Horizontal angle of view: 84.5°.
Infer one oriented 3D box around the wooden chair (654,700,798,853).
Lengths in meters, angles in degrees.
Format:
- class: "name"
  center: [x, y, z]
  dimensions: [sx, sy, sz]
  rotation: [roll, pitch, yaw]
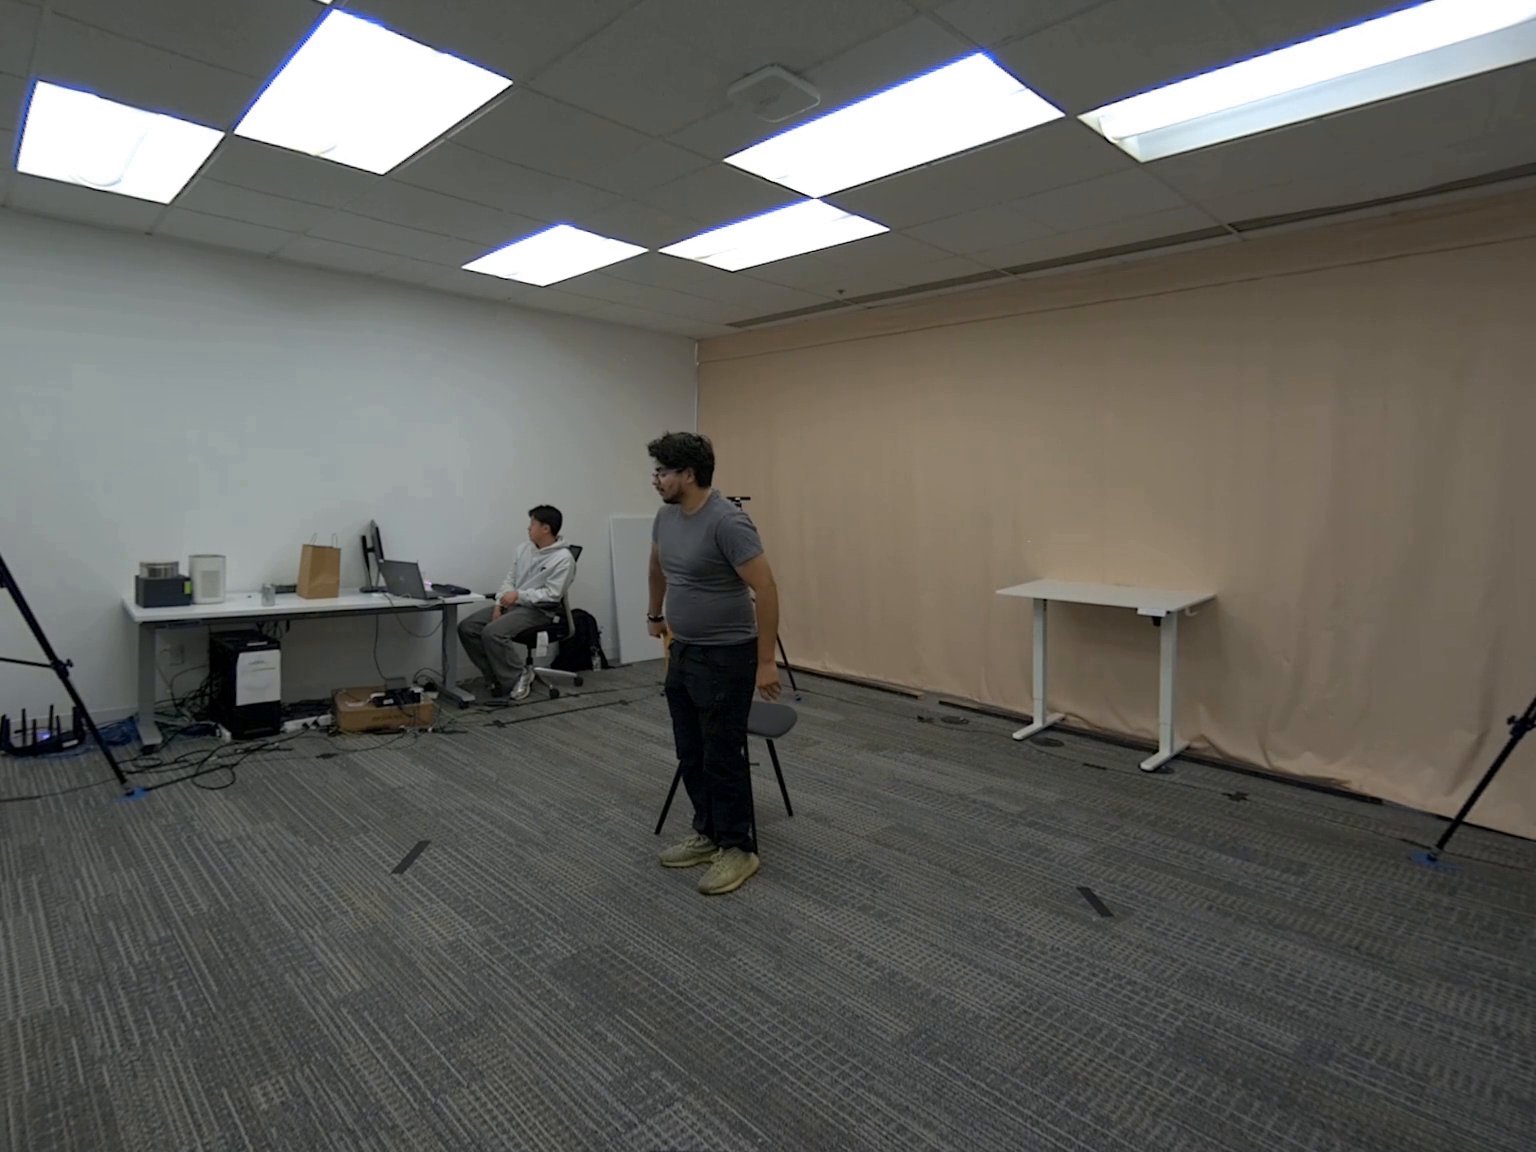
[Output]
- class: "wooden chair"
  center: [-0.166, 0.639, 3.555]
  dimensions: [0.532, 0.876, 0.471]
  rotation: [-2, 2, 22]
